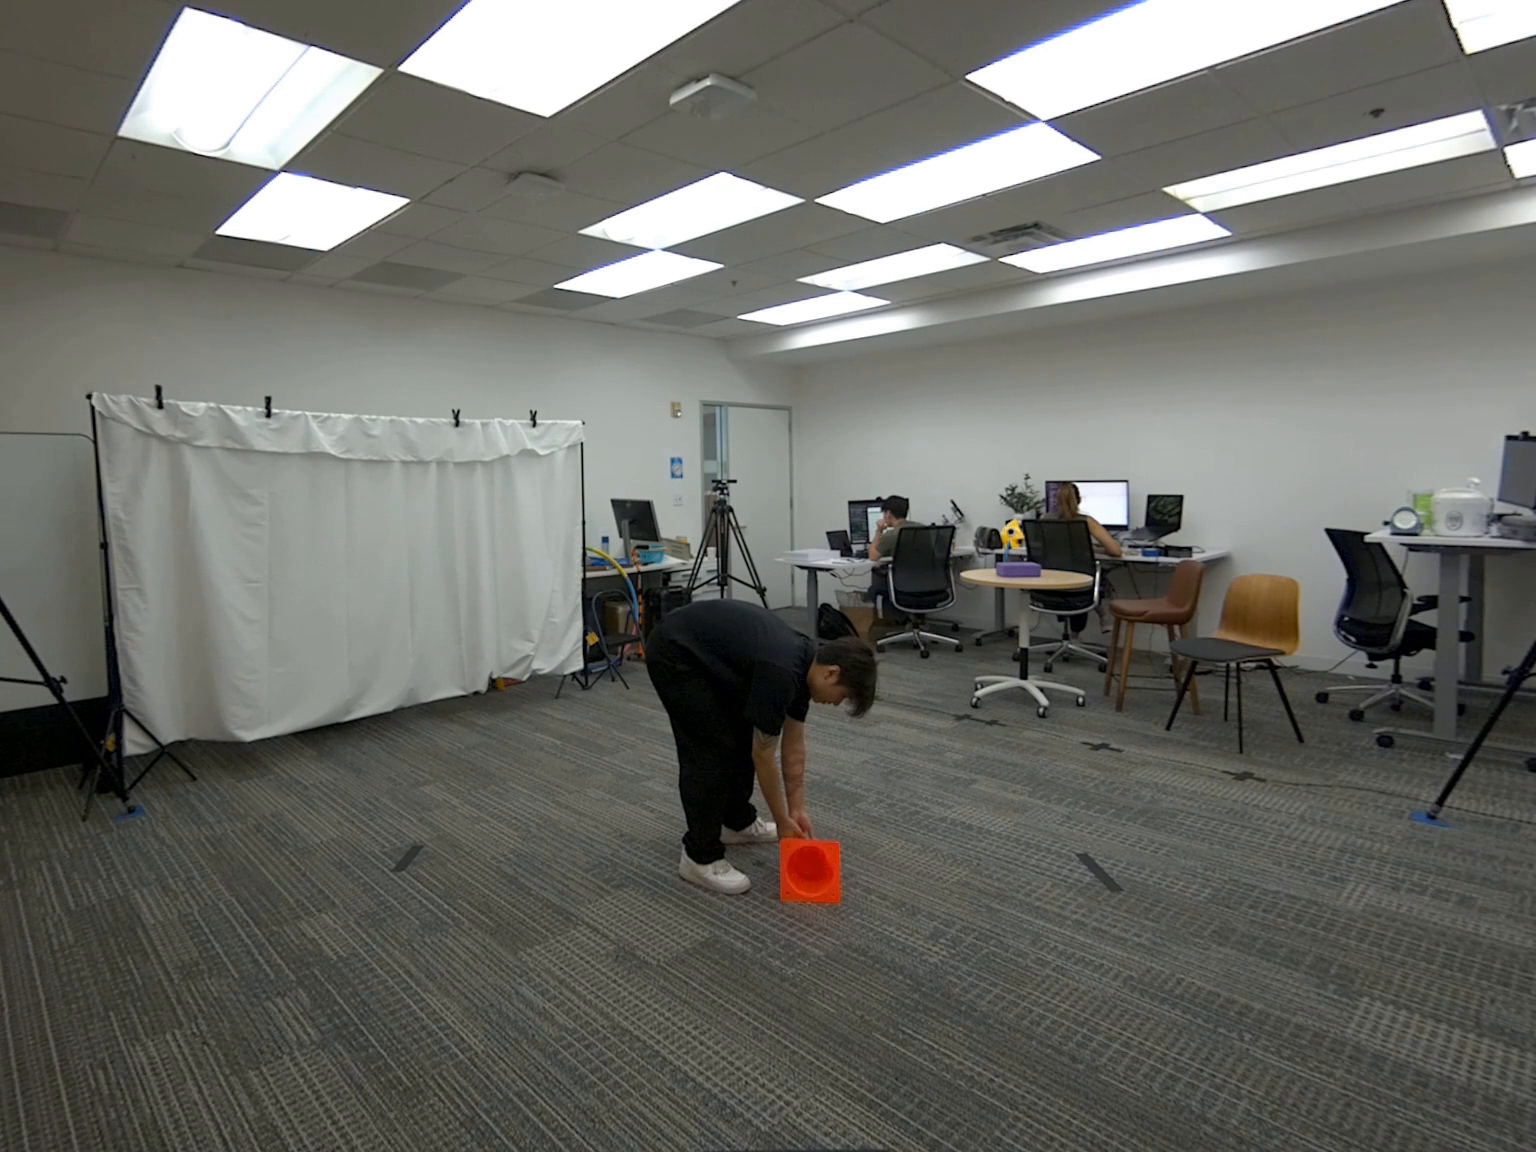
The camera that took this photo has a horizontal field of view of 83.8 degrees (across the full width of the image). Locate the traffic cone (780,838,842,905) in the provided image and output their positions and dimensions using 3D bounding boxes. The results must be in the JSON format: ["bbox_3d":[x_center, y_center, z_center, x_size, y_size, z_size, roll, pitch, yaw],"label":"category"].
[{"bbox_3d":[0.160,0.994,3.021,0.204,0.206,0.381,1,-5,1],"label":"traffic cone"}]
